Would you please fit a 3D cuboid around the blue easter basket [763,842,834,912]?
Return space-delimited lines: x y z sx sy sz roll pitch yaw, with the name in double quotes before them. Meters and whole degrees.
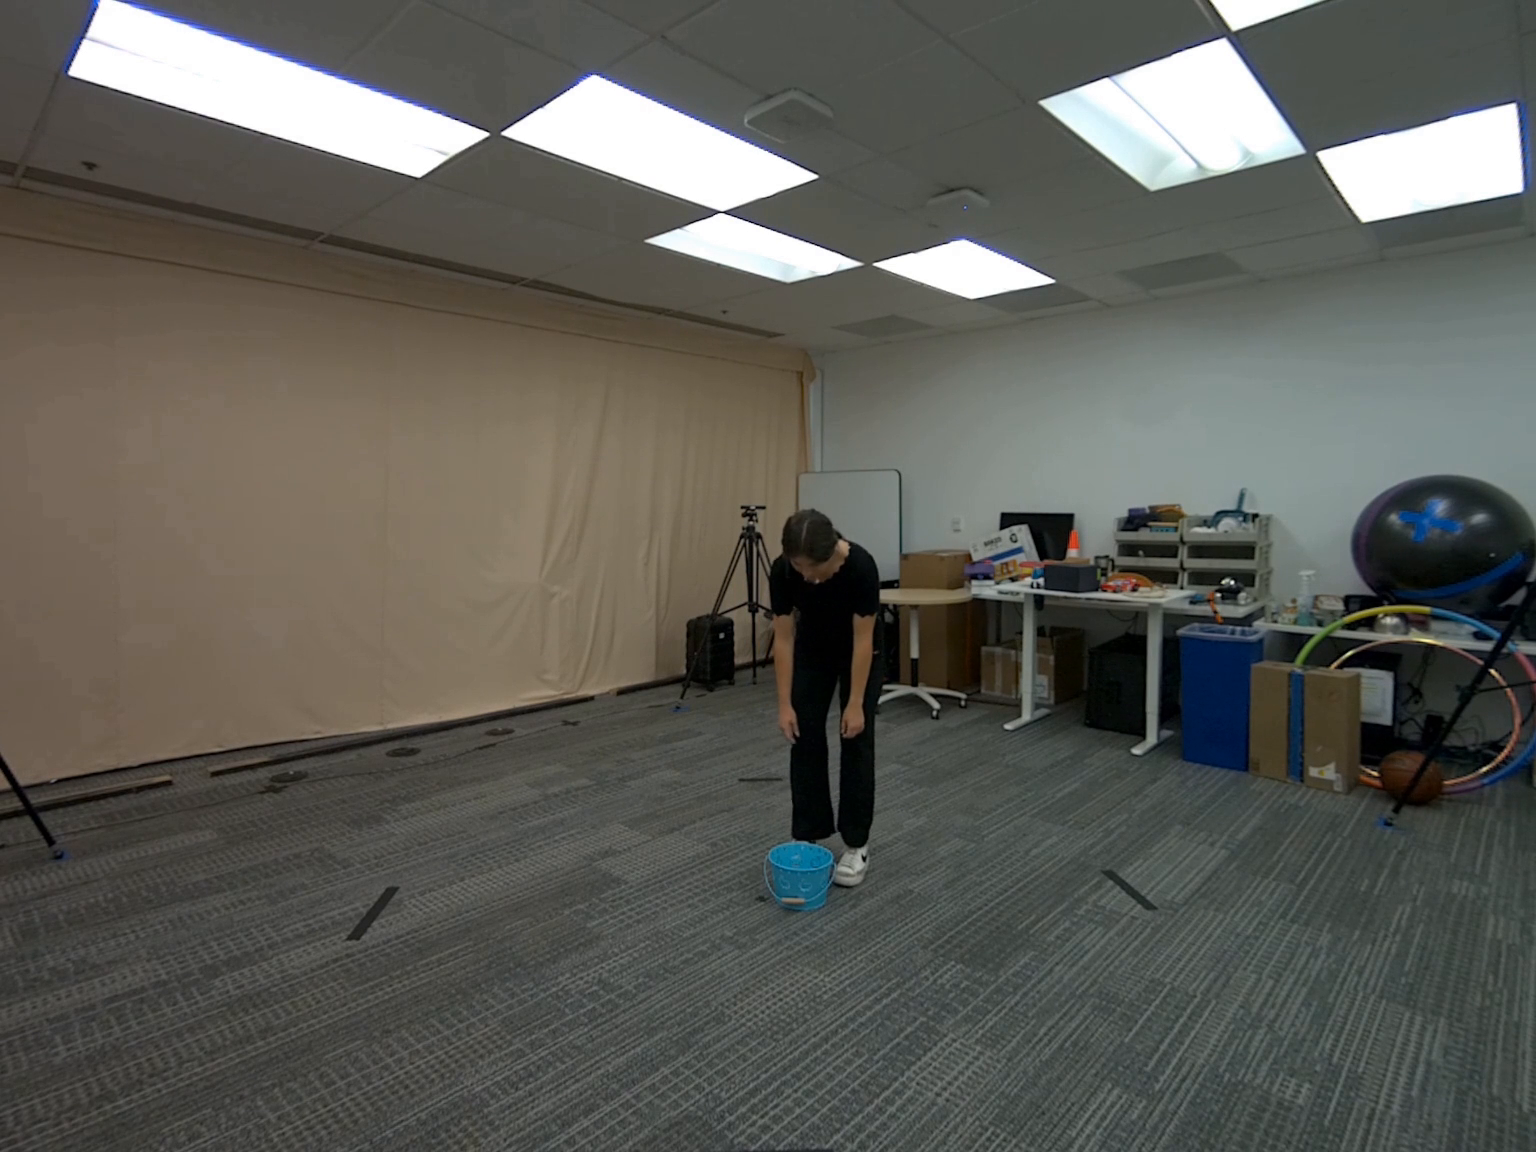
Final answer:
"blue easter basket" 0.112 1.064 2.982 0.243 0.155 0.244 1 4 -2
